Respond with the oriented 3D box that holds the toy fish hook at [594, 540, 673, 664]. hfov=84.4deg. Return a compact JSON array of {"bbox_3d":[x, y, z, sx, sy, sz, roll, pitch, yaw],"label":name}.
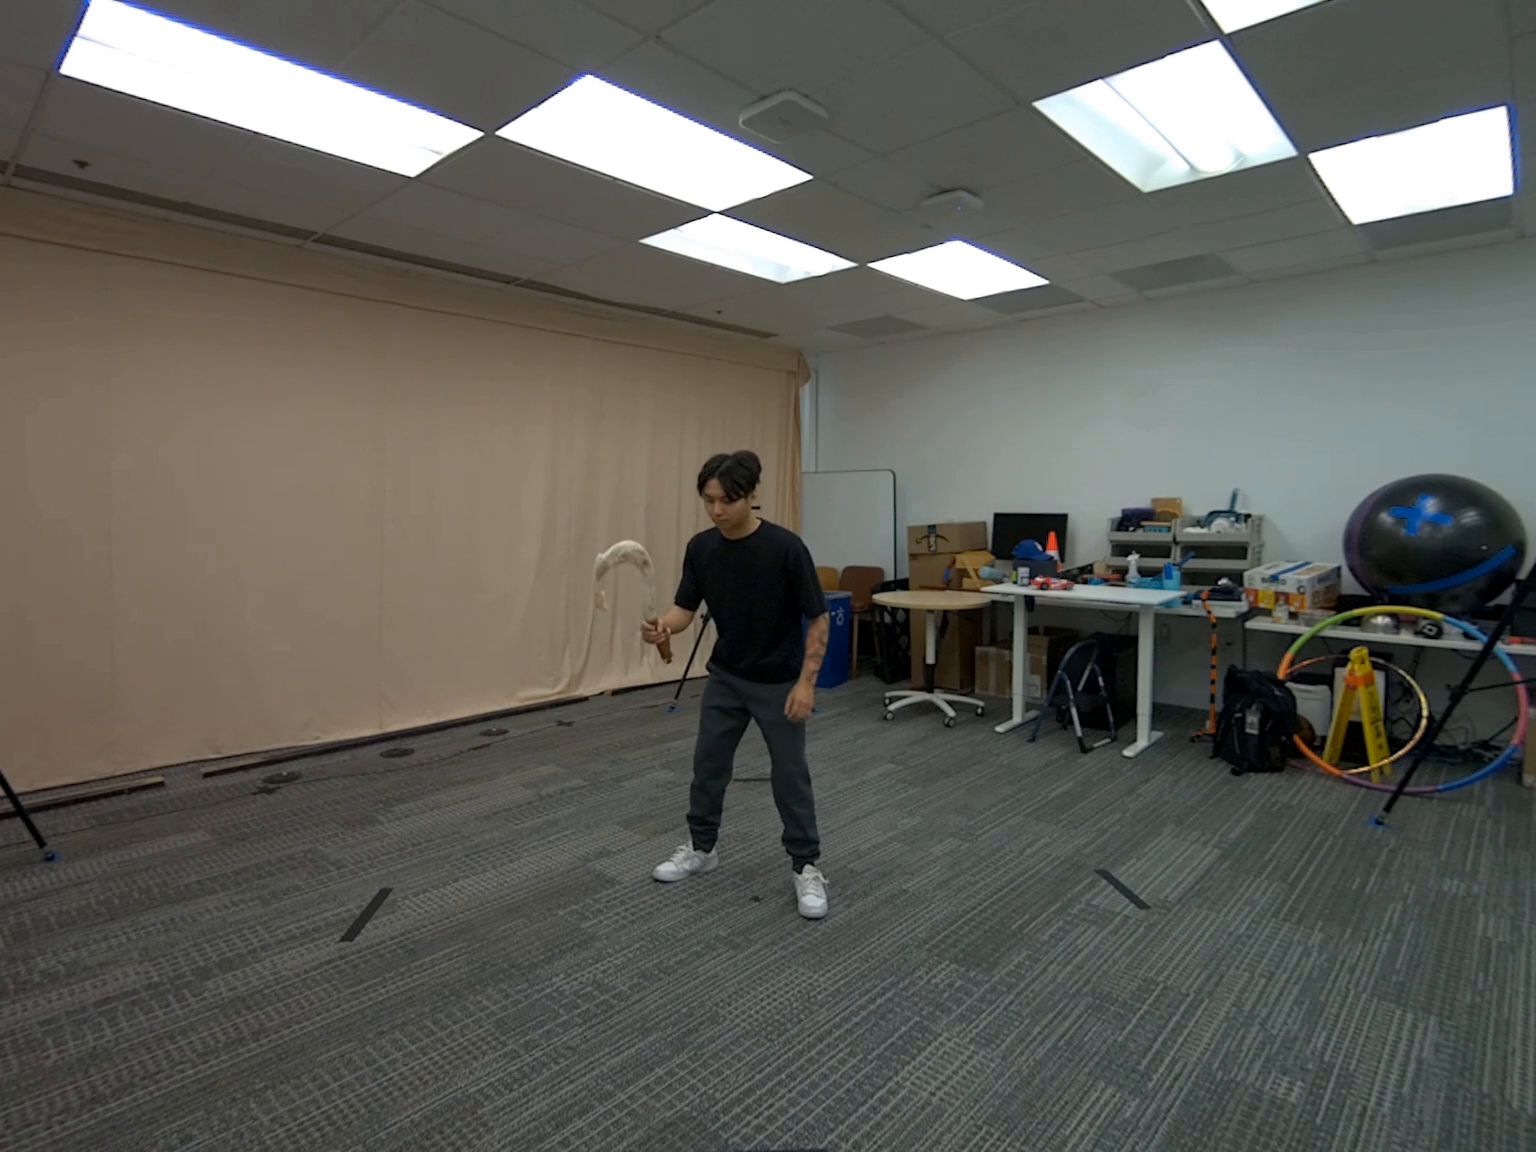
[{"bbox_3d":[-0.429,0.142,2.732,0.222,0.495,0.050,-30,32,-21],"label":"toy fish hook"}]
